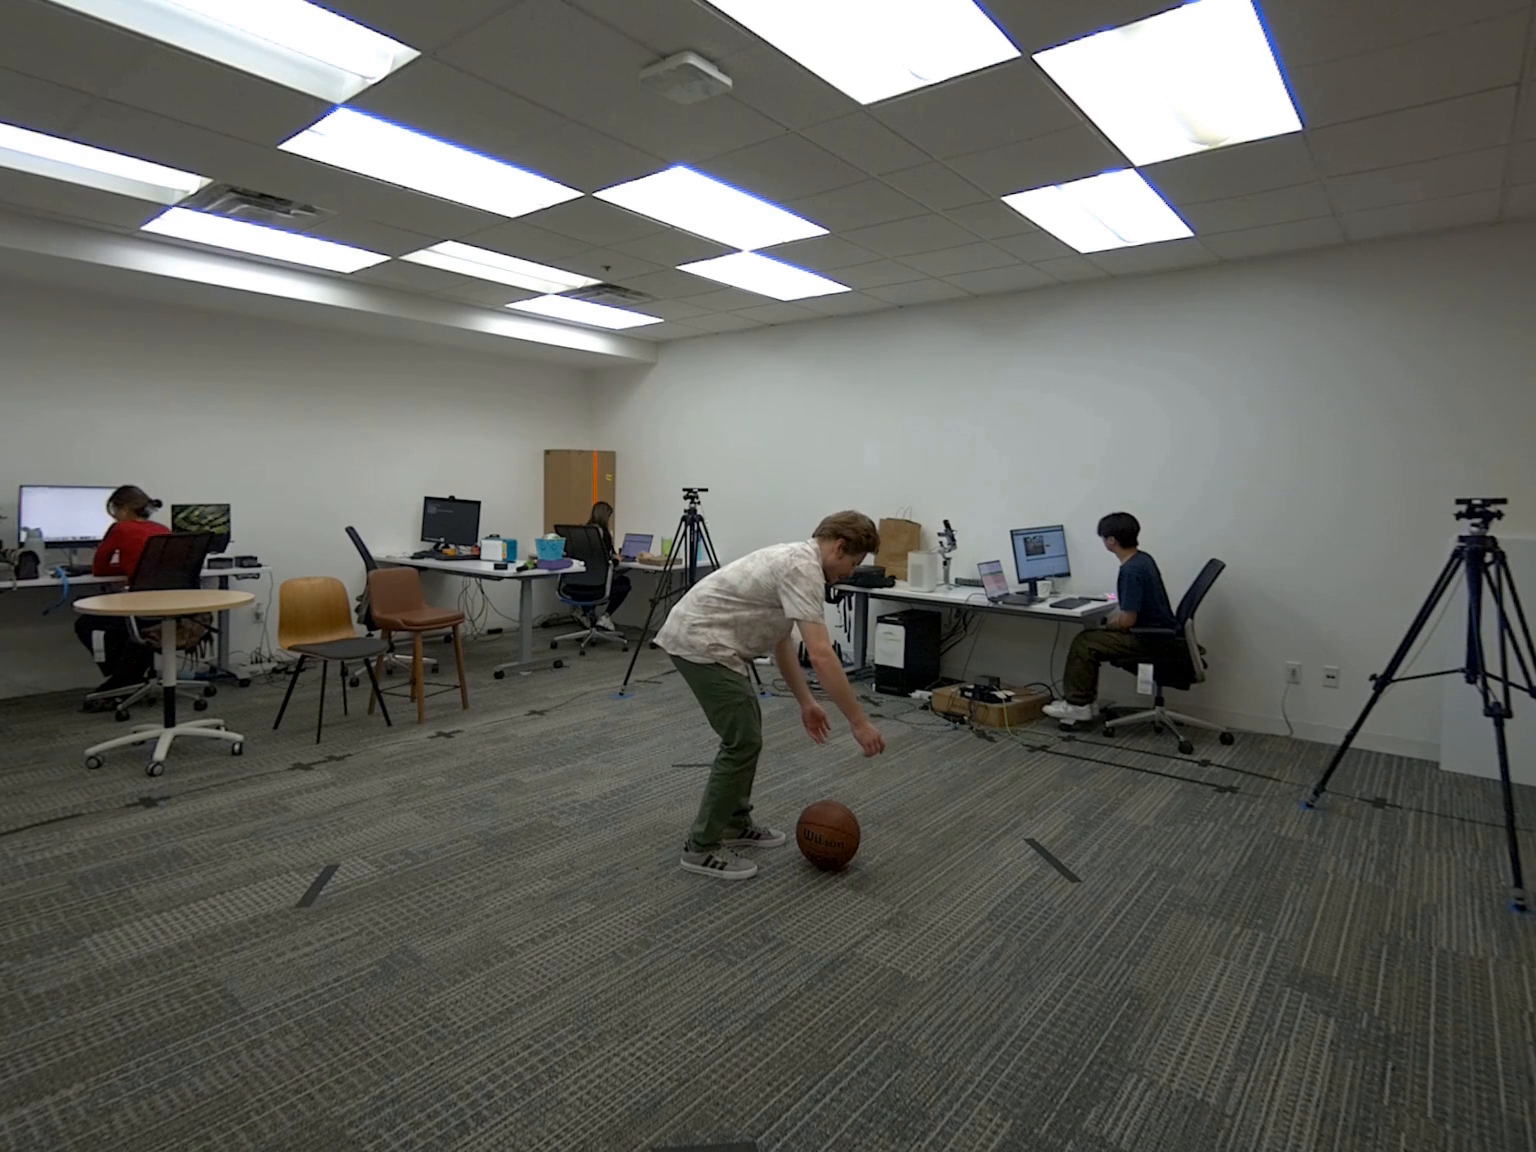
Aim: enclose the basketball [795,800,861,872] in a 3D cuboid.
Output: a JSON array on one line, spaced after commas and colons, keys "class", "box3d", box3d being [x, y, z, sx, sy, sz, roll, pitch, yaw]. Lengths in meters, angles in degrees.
[{"class": "basketball", "box3d": [0.214, 0.953, 3.160, 0.236, 0.235, 0.237, 1, 4, -2]}]
